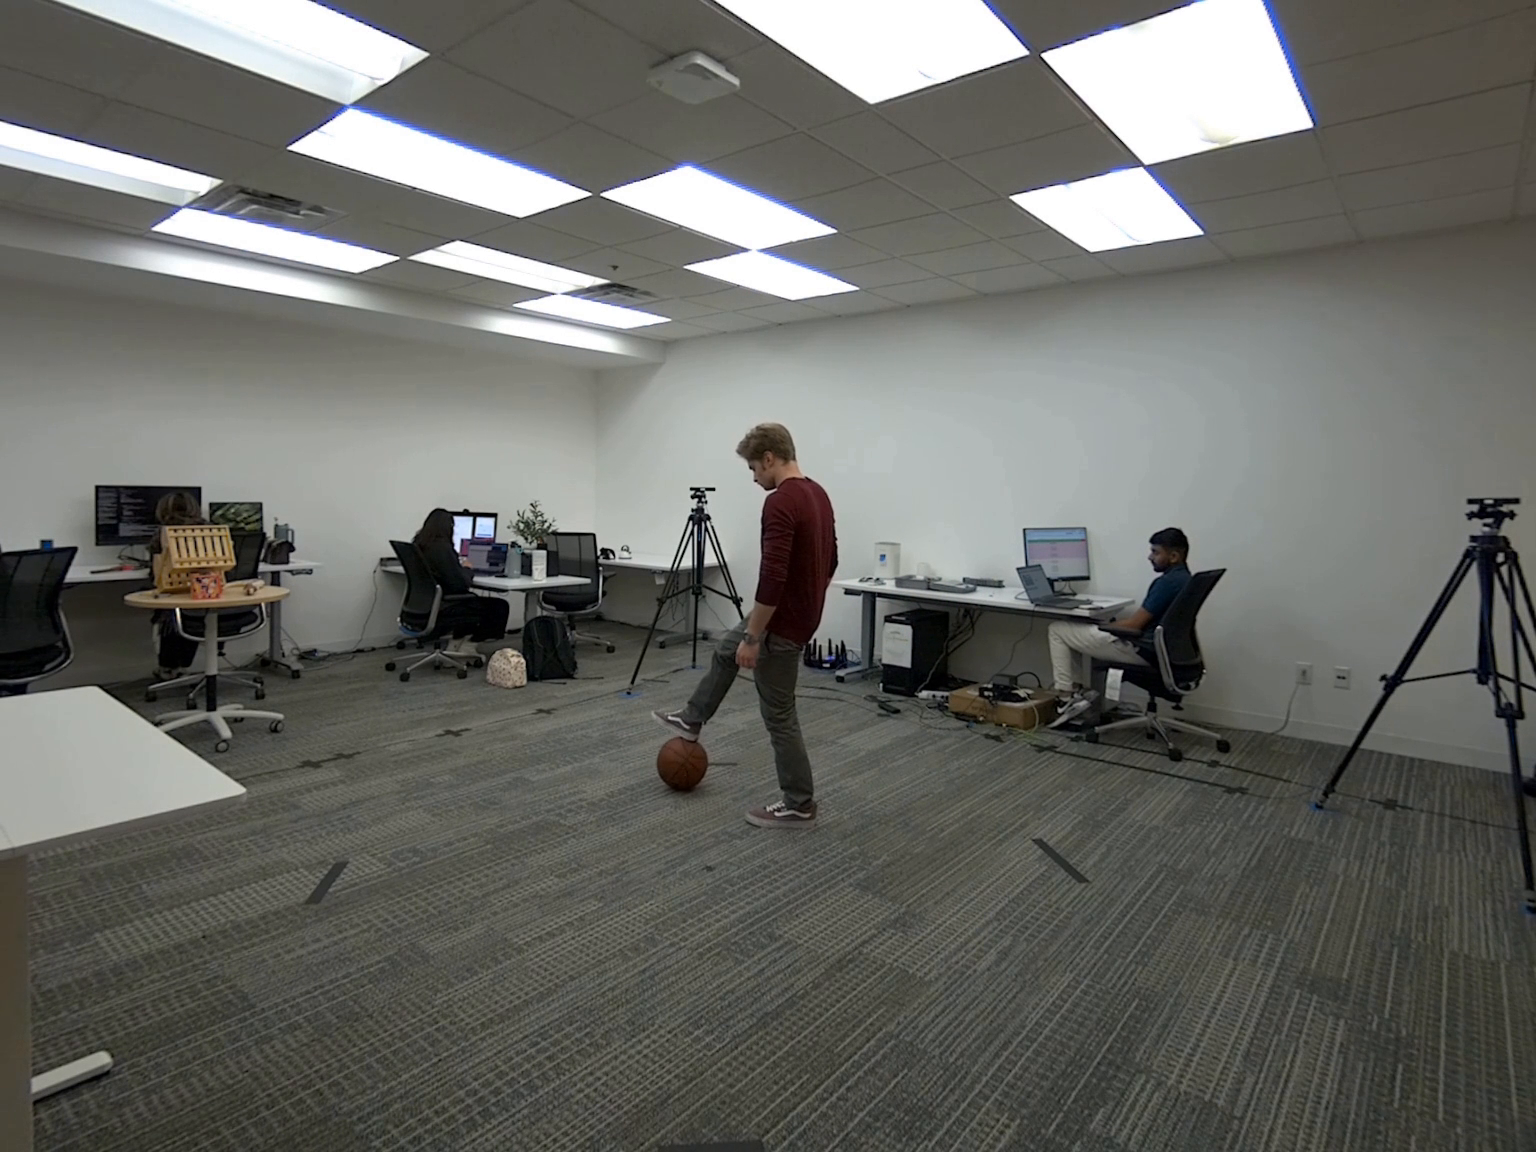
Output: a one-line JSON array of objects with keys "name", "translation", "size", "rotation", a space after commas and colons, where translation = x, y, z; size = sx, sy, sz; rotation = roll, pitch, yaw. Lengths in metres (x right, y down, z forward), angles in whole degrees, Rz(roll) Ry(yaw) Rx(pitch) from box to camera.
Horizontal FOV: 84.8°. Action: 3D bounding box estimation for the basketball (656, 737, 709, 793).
[{"name": "basketball", "translation": [-0.412, 0.863, 3.941], "size": [0.235, 0.235, 0.237], "rotation": [1, 4, -2]}]
